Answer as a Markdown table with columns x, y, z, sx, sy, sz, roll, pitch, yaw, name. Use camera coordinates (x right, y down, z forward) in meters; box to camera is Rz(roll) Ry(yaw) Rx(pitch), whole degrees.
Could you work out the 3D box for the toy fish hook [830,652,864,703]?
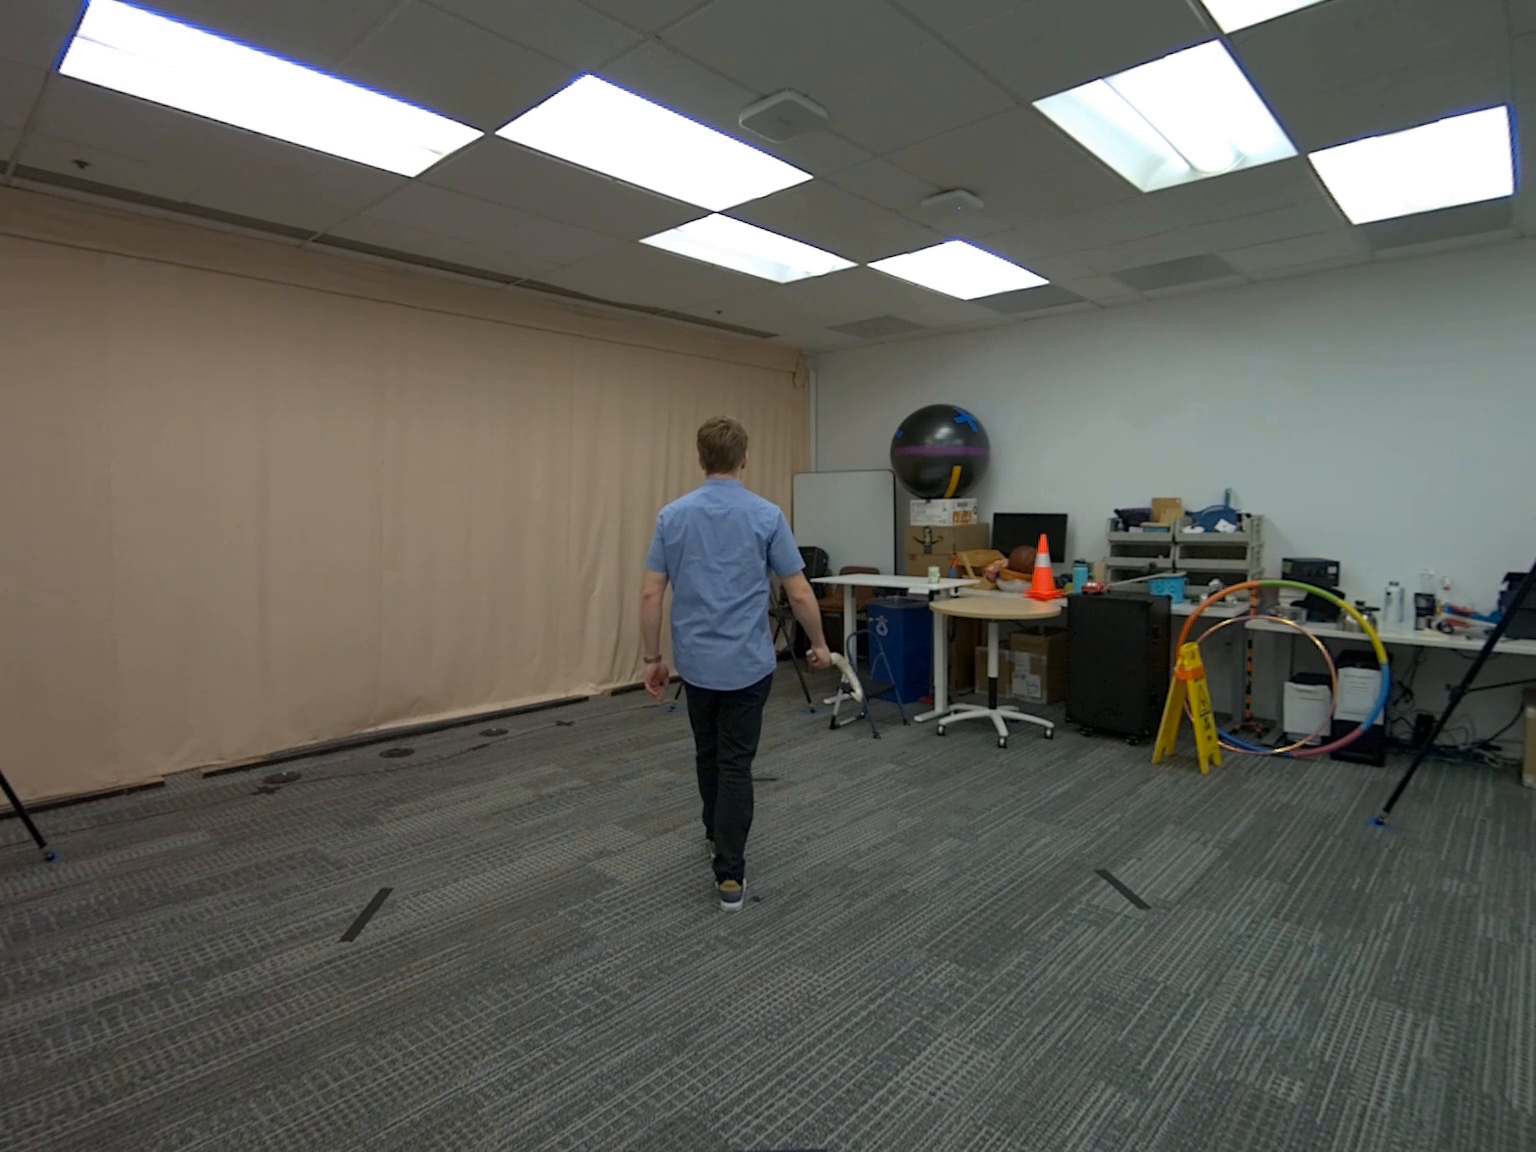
| x | y | z | sx | sy | sz | roll | pitch | yaw | name |
| --- | --- | --- | --- | --- | --- | --- | --- | --- | --- |
| 0.276 | 0.378 | 3.319 | 0.048 | 0.230 | 0.491 | -38 | -23 | 11 | toy fish hook |
